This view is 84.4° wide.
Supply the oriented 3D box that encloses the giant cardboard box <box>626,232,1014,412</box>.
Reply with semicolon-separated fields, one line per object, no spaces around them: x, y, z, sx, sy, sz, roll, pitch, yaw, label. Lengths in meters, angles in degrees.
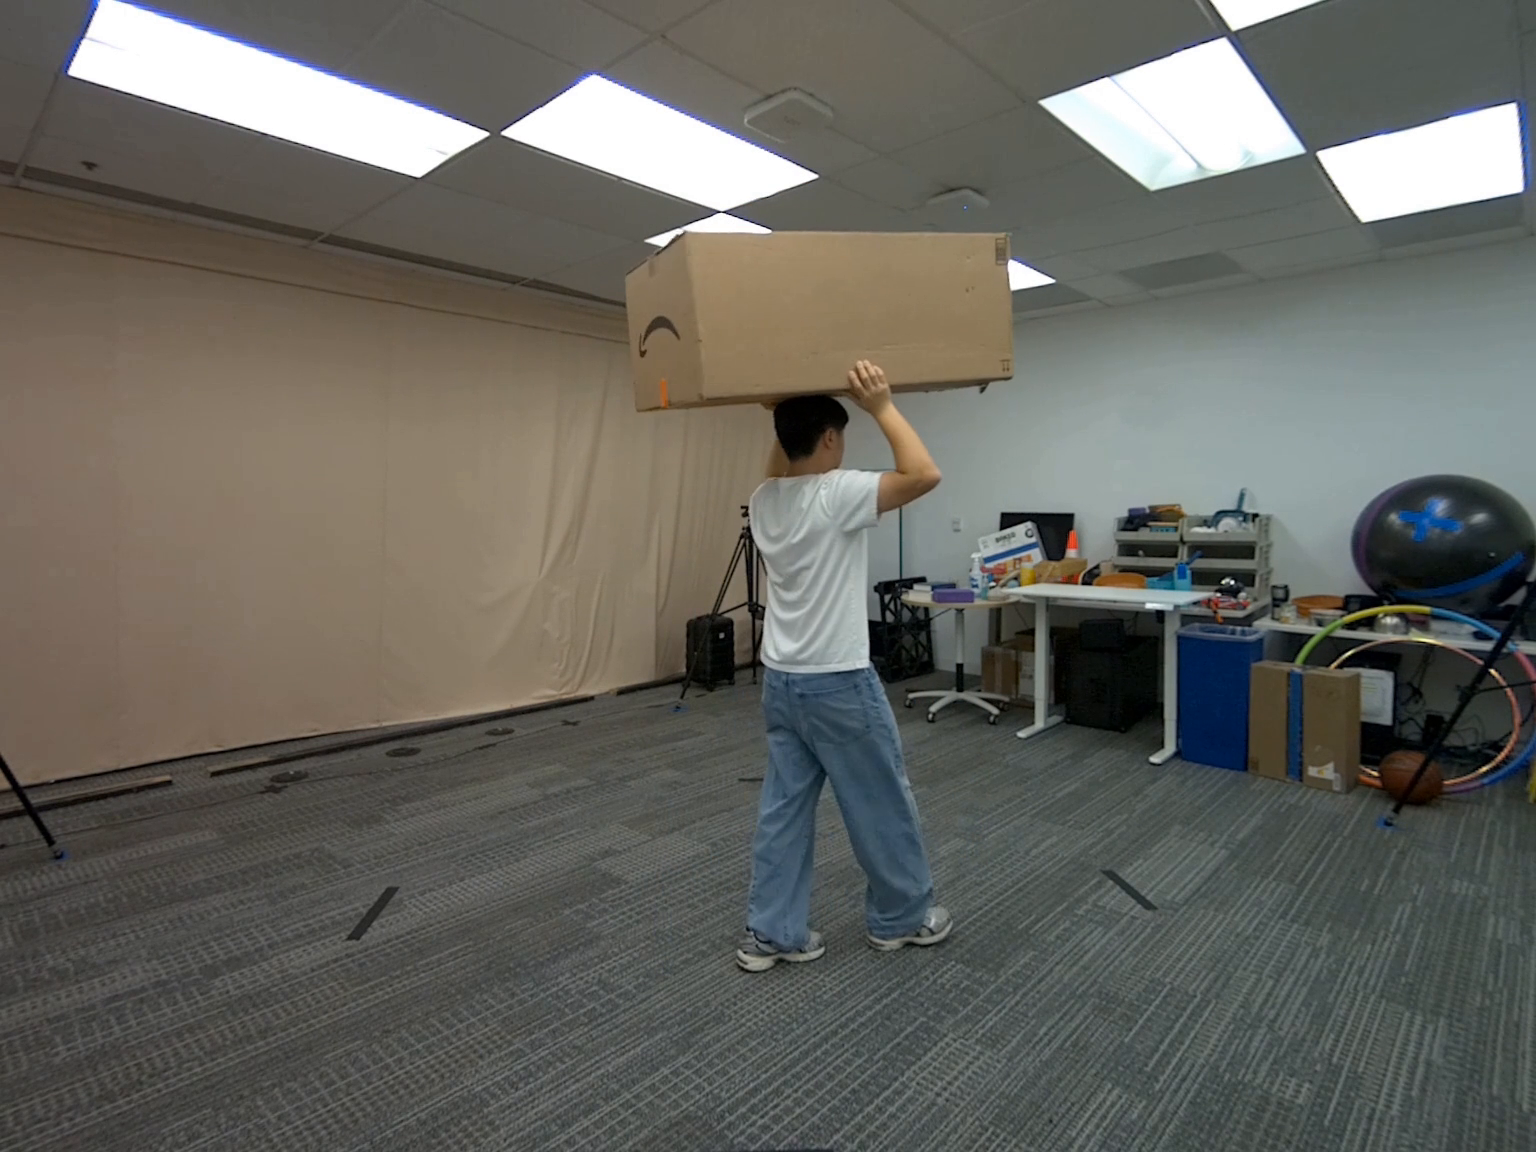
0.151;-0.758;2.574;1.005;0.423;0.593;-9;11;-22;giant cardboard box
